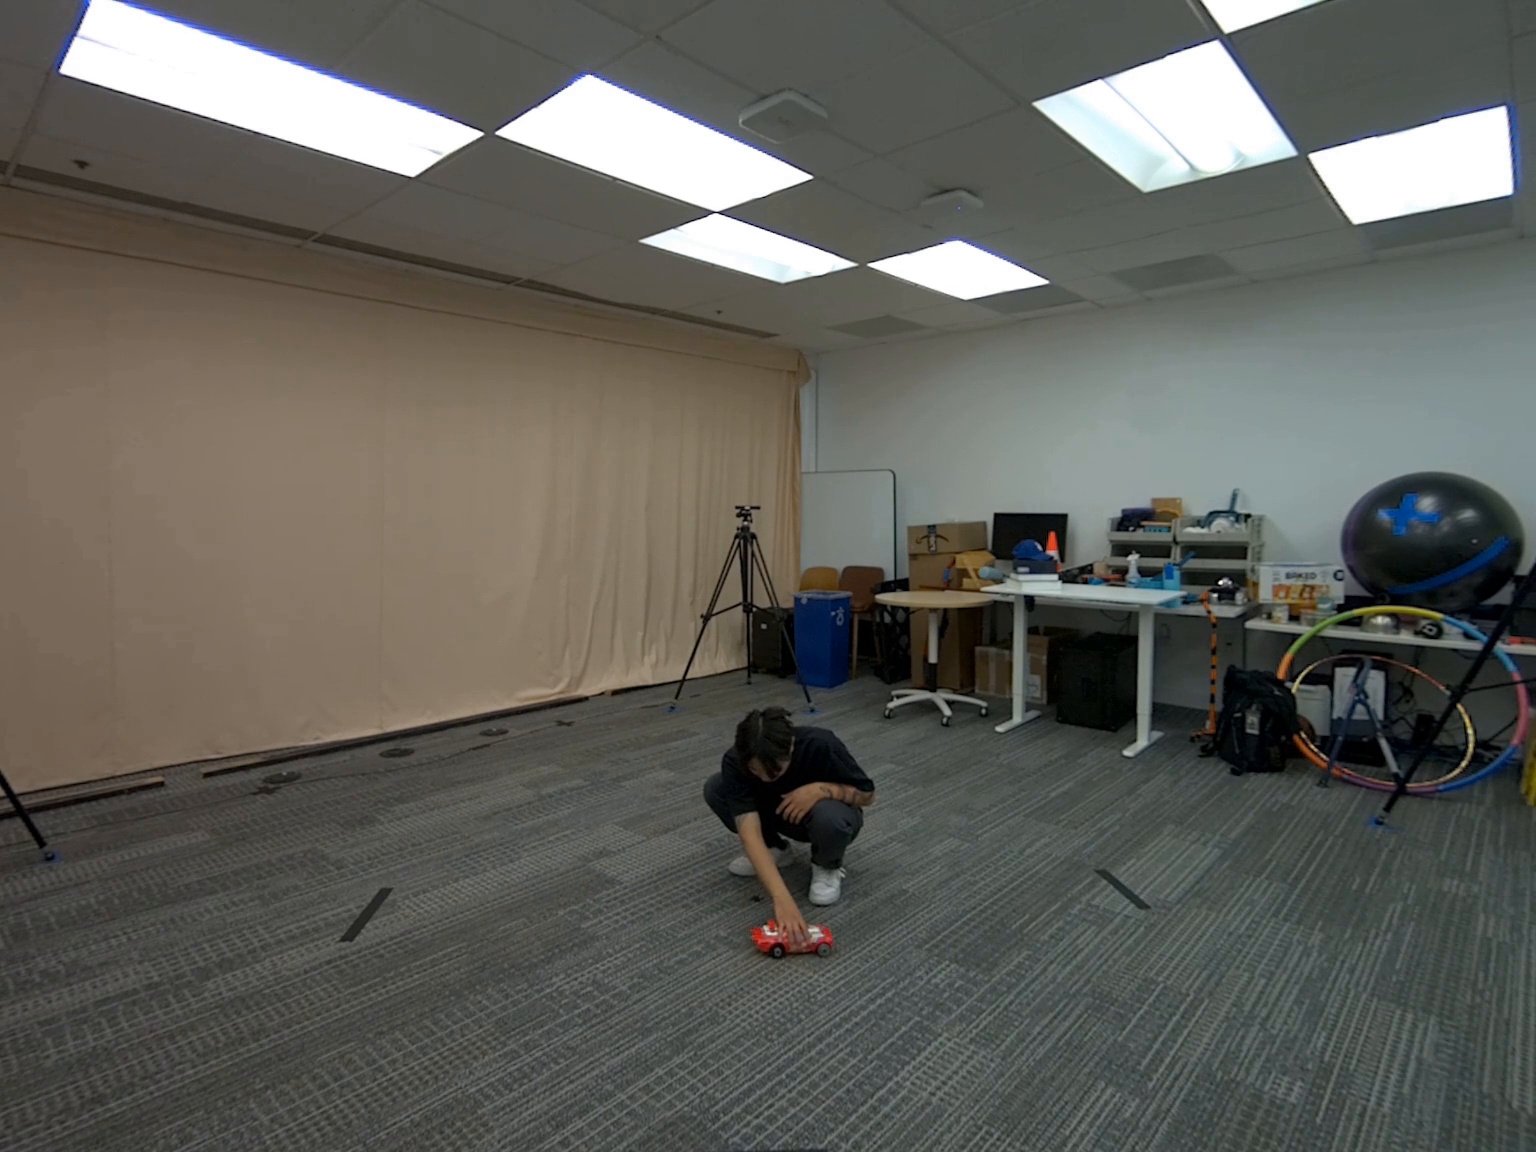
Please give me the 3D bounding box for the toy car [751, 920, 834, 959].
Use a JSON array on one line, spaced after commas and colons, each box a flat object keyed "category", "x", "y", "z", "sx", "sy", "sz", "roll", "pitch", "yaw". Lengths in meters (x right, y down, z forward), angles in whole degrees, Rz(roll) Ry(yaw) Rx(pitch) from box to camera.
[{"category": "toy car", "x": 0.070, "y": 1.135, "z": 2.651, "sx": 0.253, "sy": 0.083, "sz": 0.131, "roll": 10, "pitch": 3, "yaw": -5}]
